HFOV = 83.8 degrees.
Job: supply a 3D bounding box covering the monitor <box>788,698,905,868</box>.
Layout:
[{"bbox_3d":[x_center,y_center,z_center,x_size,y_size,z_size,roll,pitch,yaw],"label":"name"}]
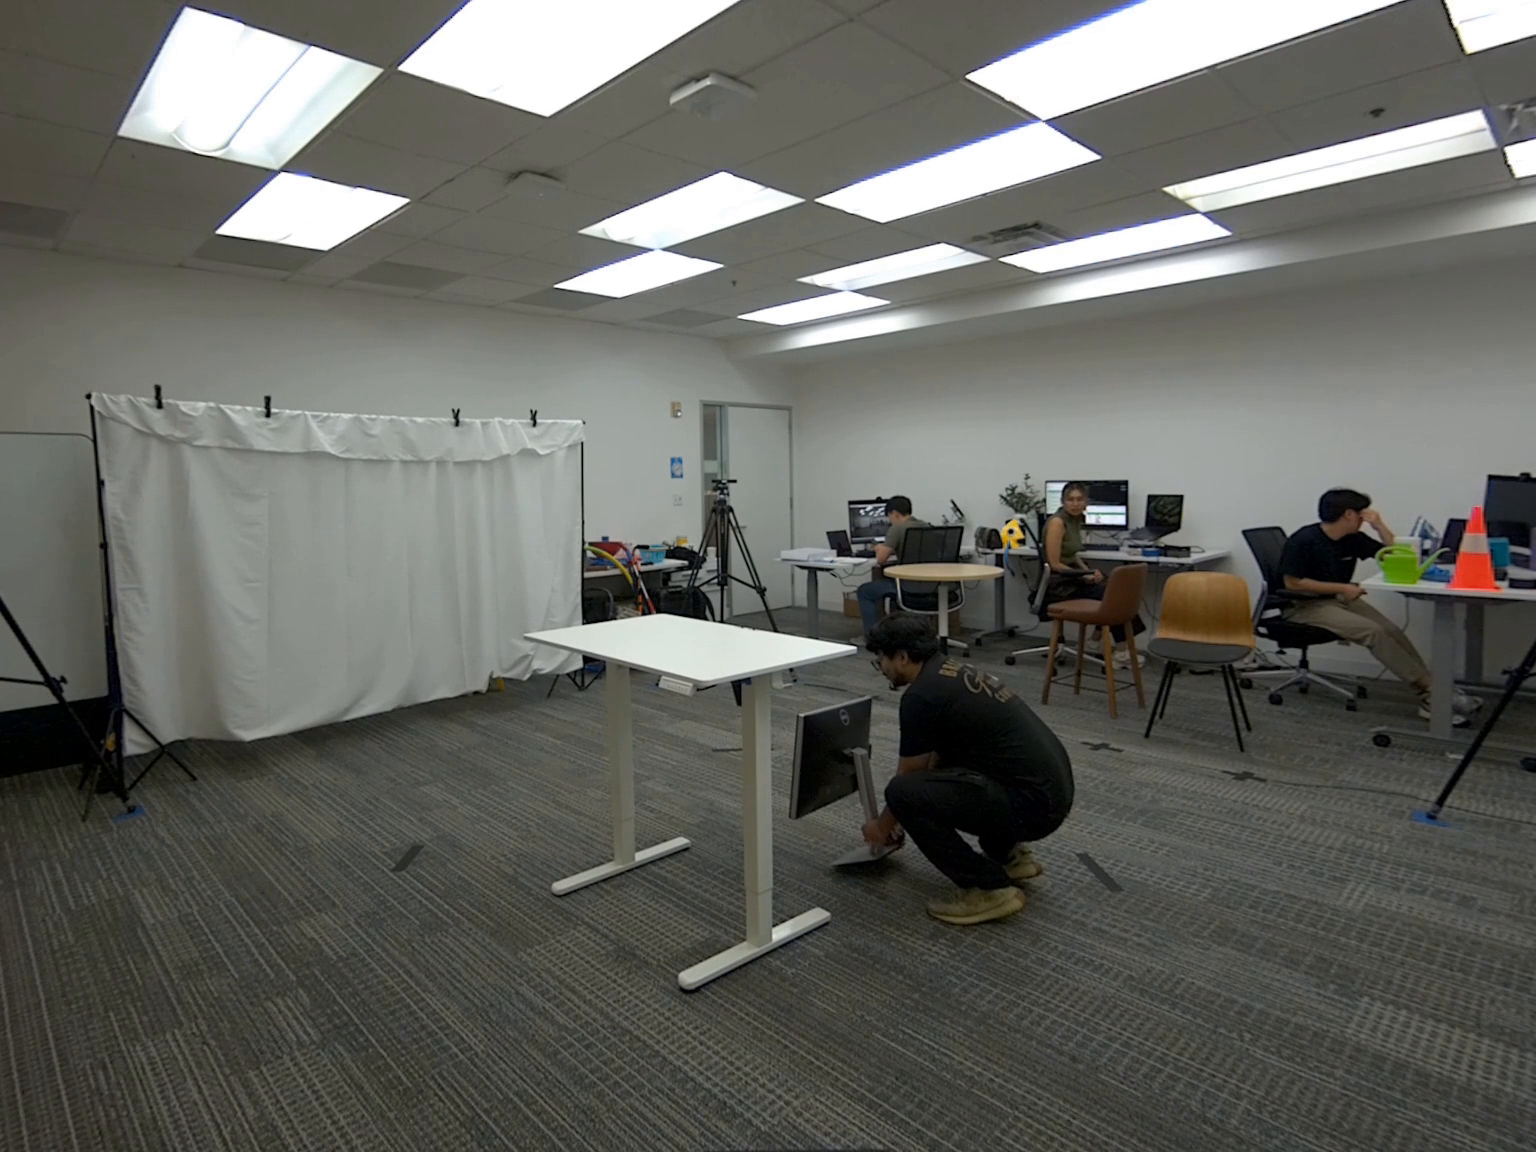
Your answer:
[{"bbox_3d":[0.319,0.747,3.129,0.215,0.556,0.550,-6,-4,33],"label":"monitor"}]
